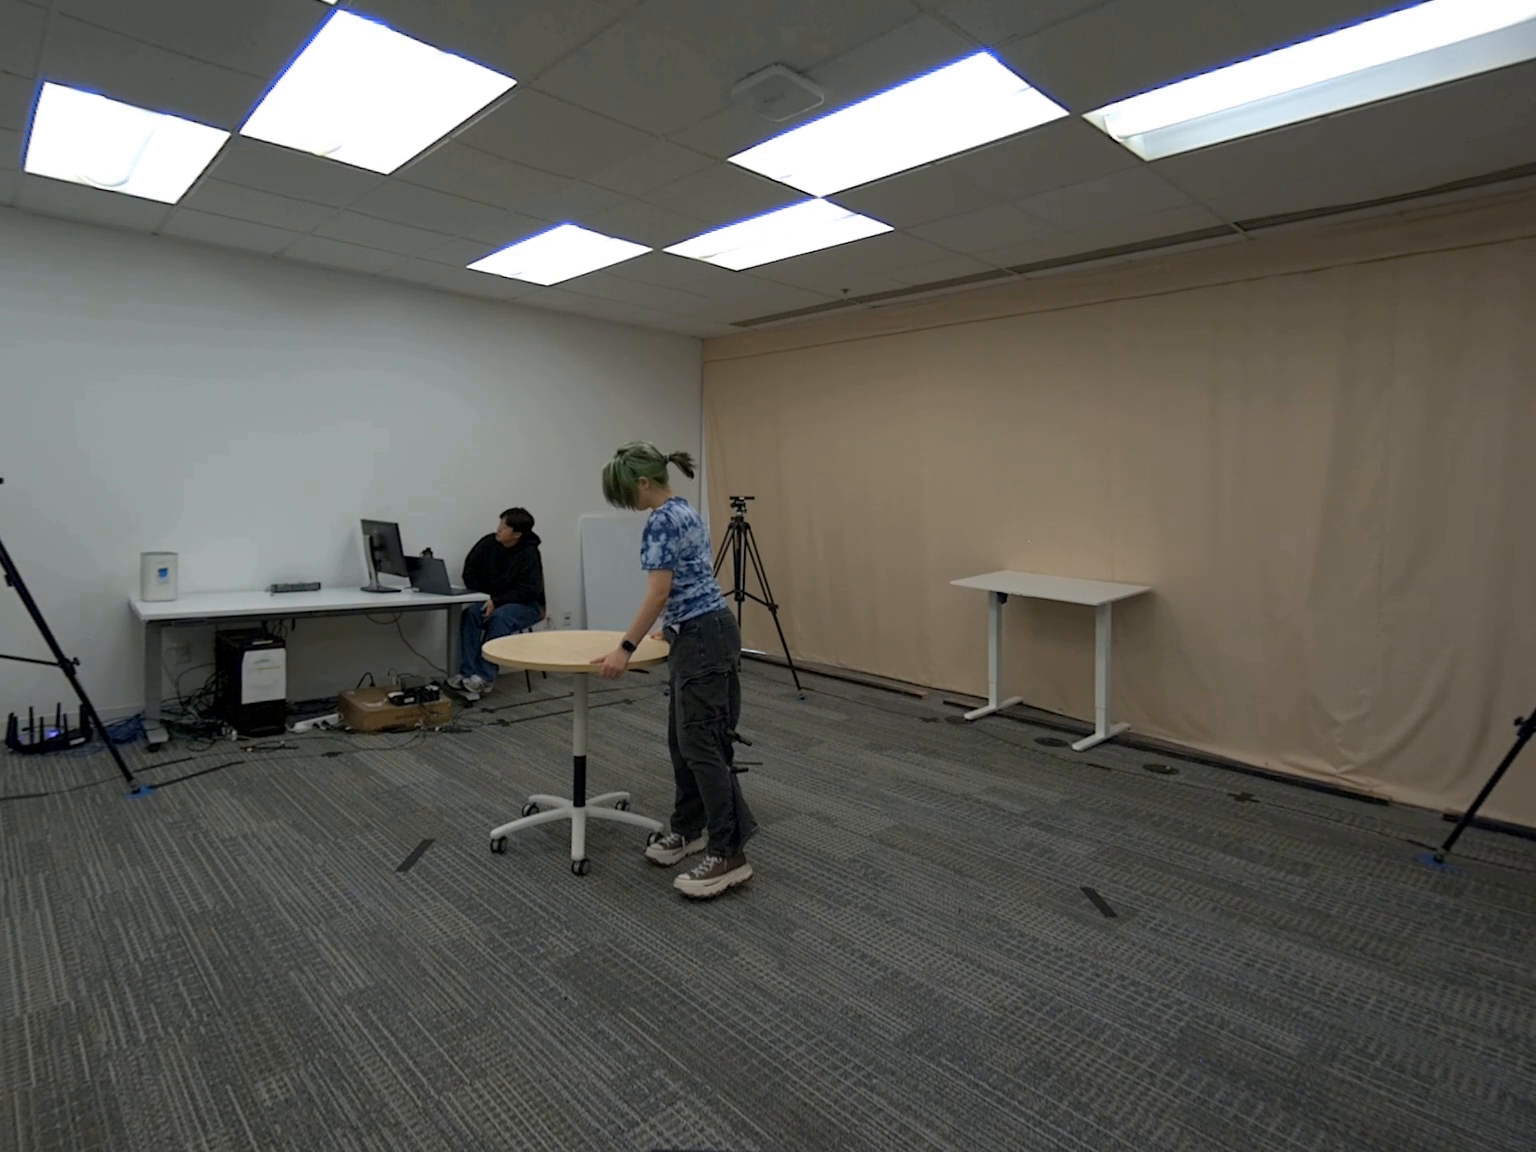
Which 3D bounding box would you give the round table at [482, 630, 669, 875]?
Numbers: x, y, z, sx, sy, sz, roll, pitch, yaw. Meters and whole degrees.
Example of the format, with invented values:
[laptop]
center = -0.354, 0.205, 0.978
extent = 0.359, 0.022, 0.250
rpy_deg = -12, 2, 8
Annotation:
[round table]
center = -0.761, 0.674, 3.381
extent = 0.763, 0.792, 0.766
rpy_deg = 1, 3, -1
